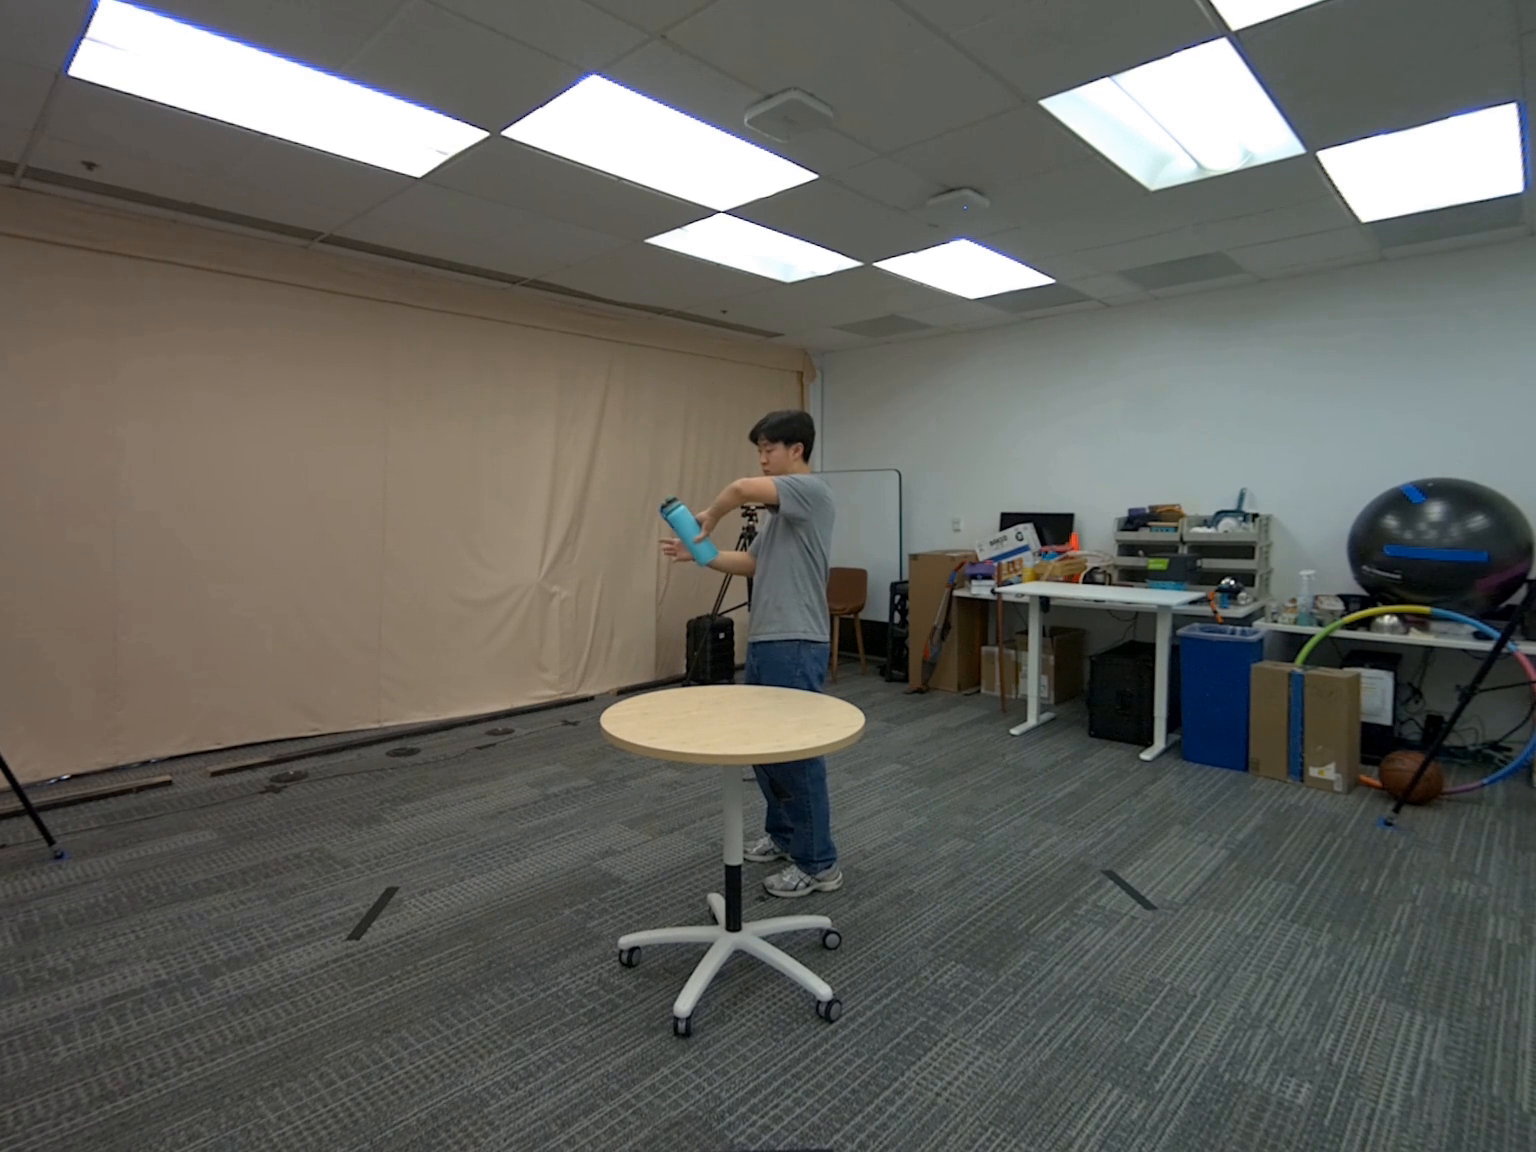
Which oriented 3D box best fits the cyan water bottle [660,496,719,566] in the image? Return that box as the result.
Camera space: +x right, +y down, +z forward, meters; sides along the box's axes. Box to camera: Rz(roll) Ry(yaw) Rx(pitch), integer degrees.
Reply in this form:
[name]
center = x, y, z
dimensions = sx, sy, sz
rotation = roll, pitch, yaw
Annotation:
[cyan water bottle]
center = -0.296, -0.173, 3.111
dimensions = 0.092, 0.282, 0.093
rotation = -37, 5, 2
